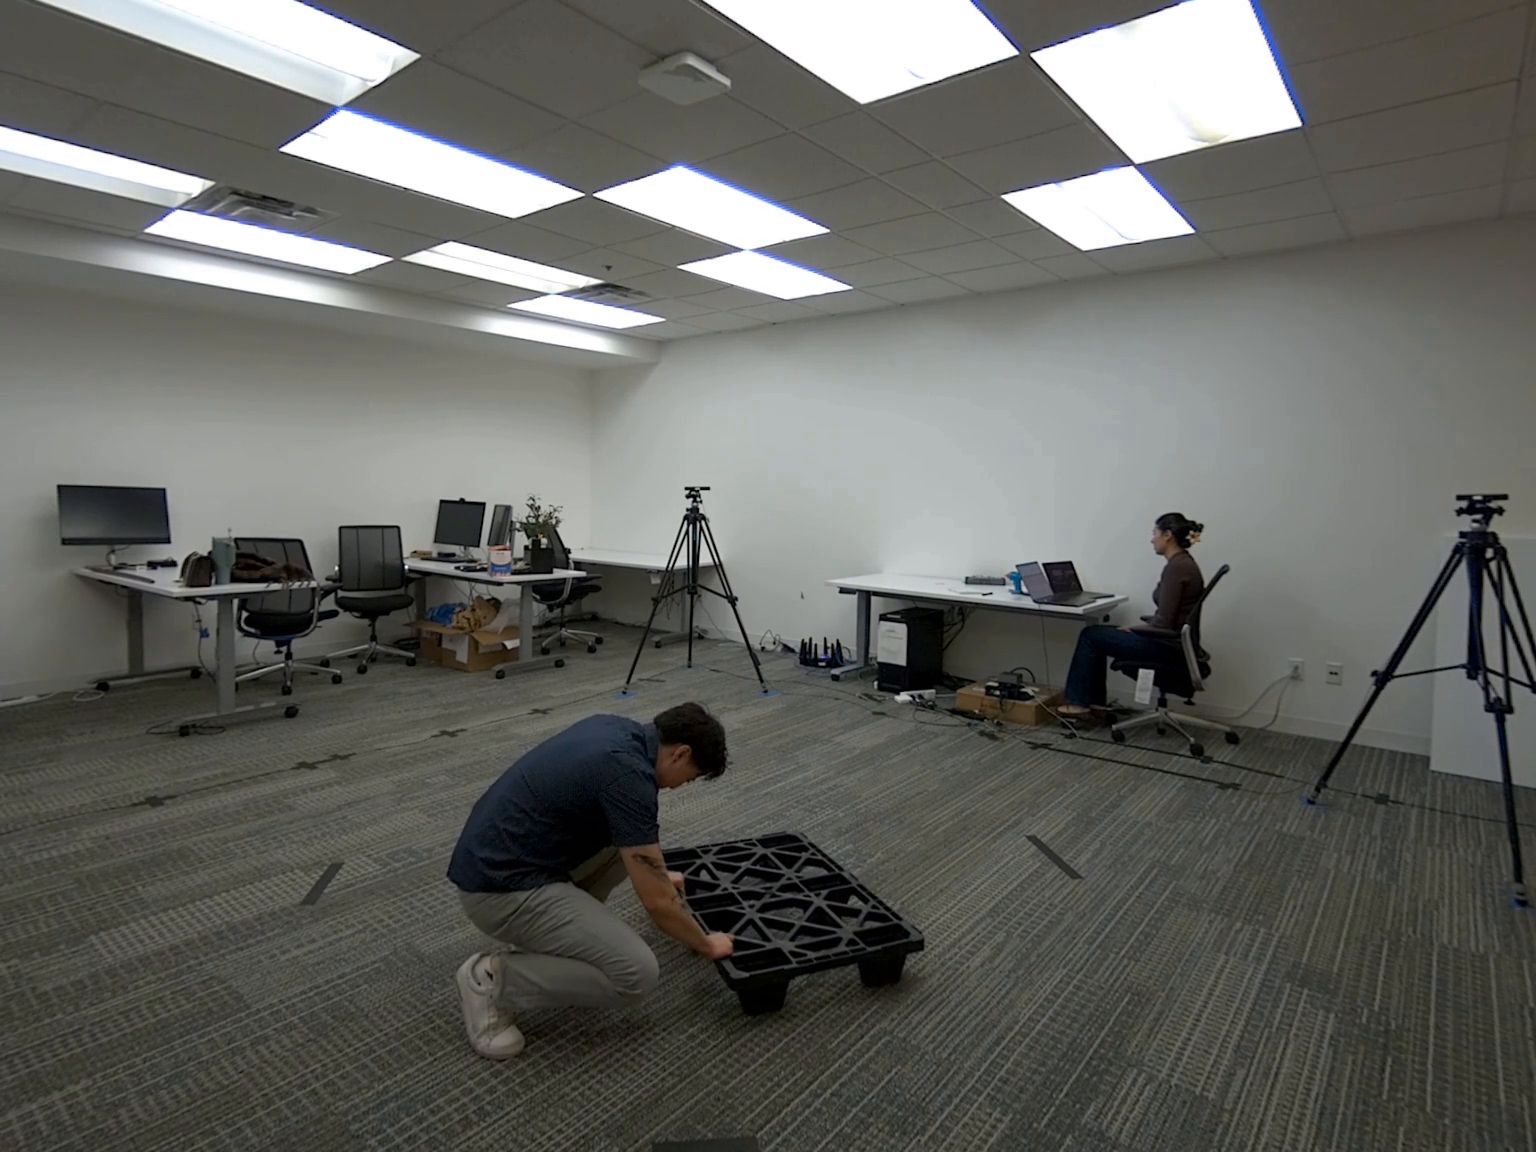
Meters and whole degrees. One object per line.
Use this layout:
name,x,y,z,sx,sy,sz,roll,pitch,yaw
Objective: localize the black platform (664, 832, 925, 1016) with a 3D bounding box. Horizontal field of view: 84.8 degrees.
black platform,0.007,1.043,2.670,0.591,0.143,0.827,-1,6,-24
